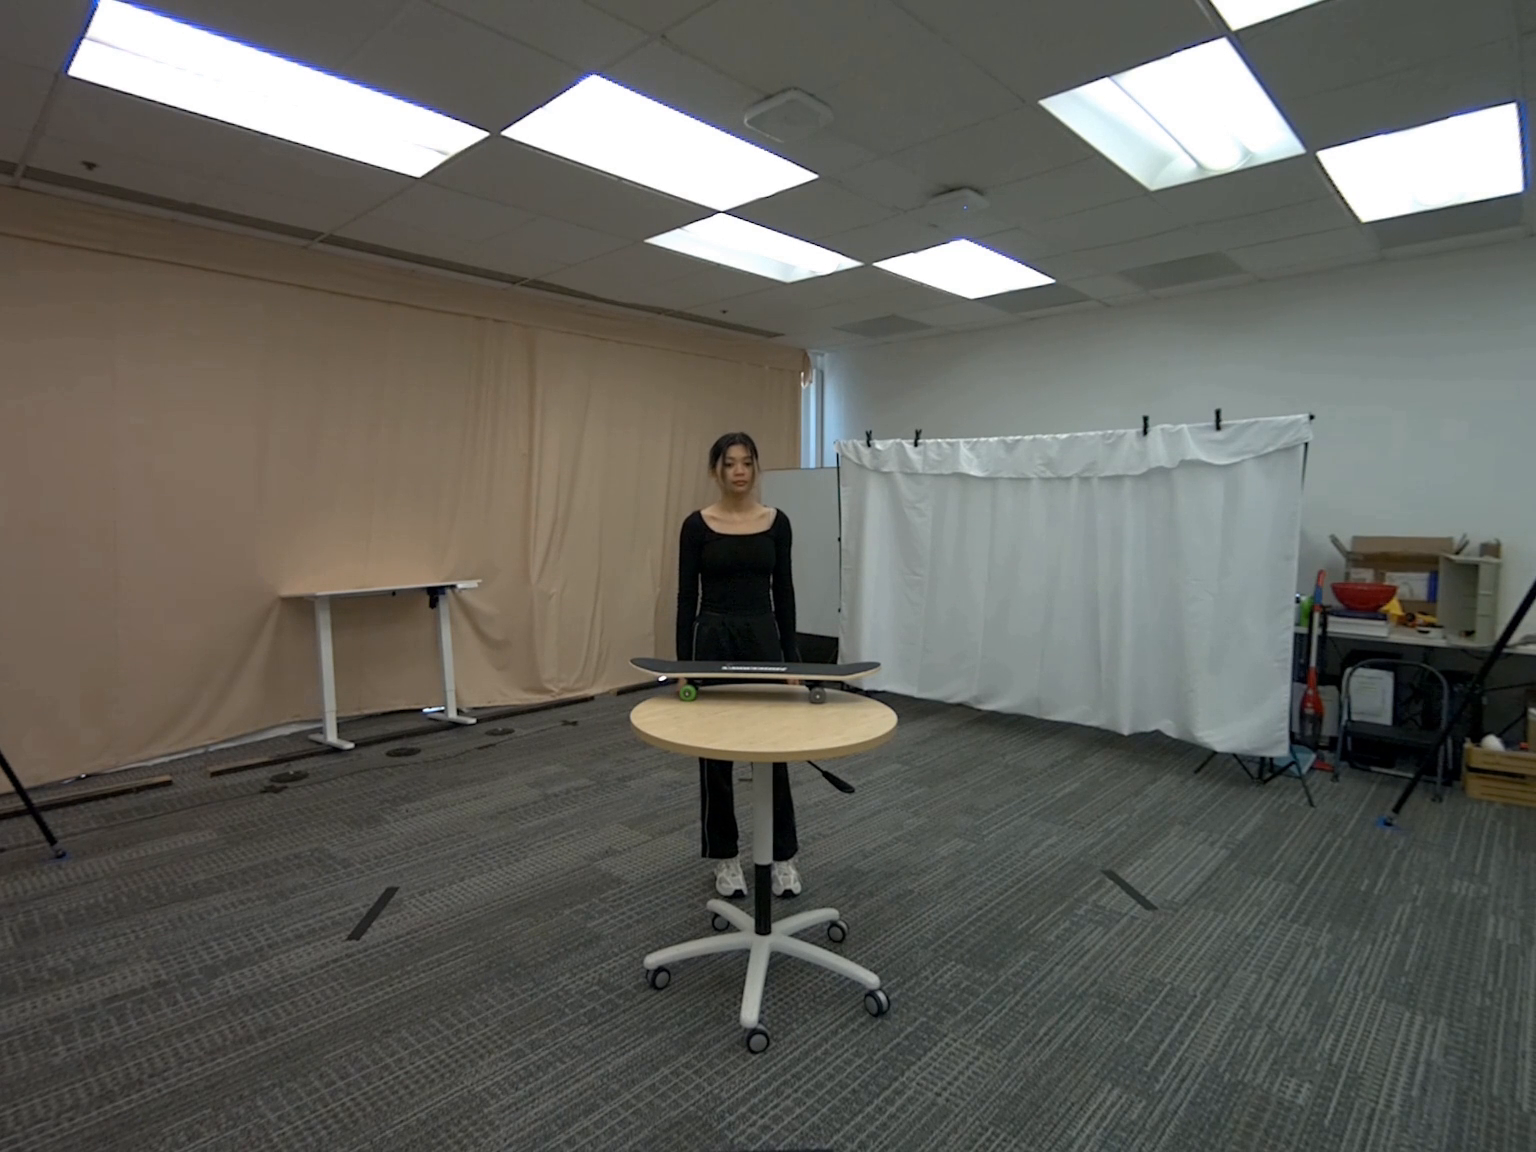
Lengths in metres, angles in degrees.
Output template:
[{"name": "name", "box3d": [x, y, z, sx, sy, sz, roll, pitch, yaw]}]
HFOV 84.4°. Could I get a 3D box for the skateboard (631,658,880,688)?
[{"name": "skateboard", "box3d": [-0.046, 0.327, 2.647, 0.791, 0.110, 0.192, 0, 5, 6]}]
